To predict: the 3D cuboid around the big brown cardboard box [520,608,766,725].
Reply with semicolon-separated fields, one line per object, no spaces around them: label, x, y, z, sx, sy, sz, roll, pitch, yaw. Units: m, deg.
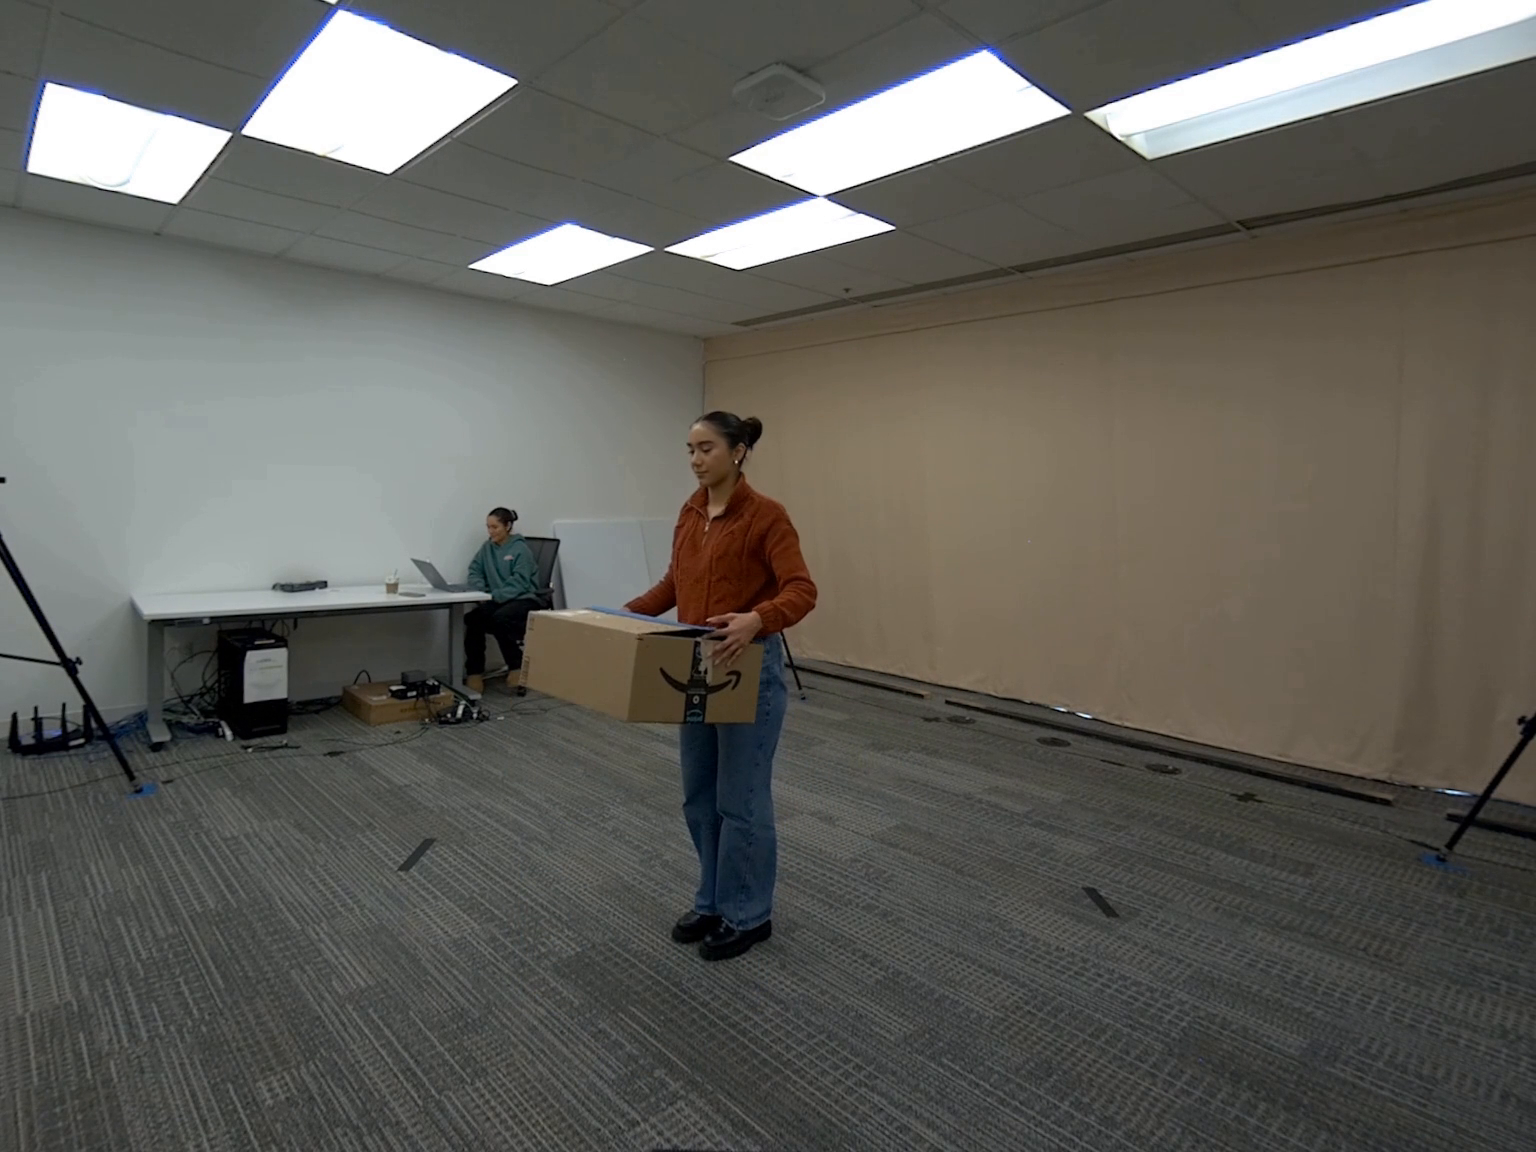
big brown cardboard box;-0.376;0.257;2.347;0.406;0.233;0.604;8;-1;-43
